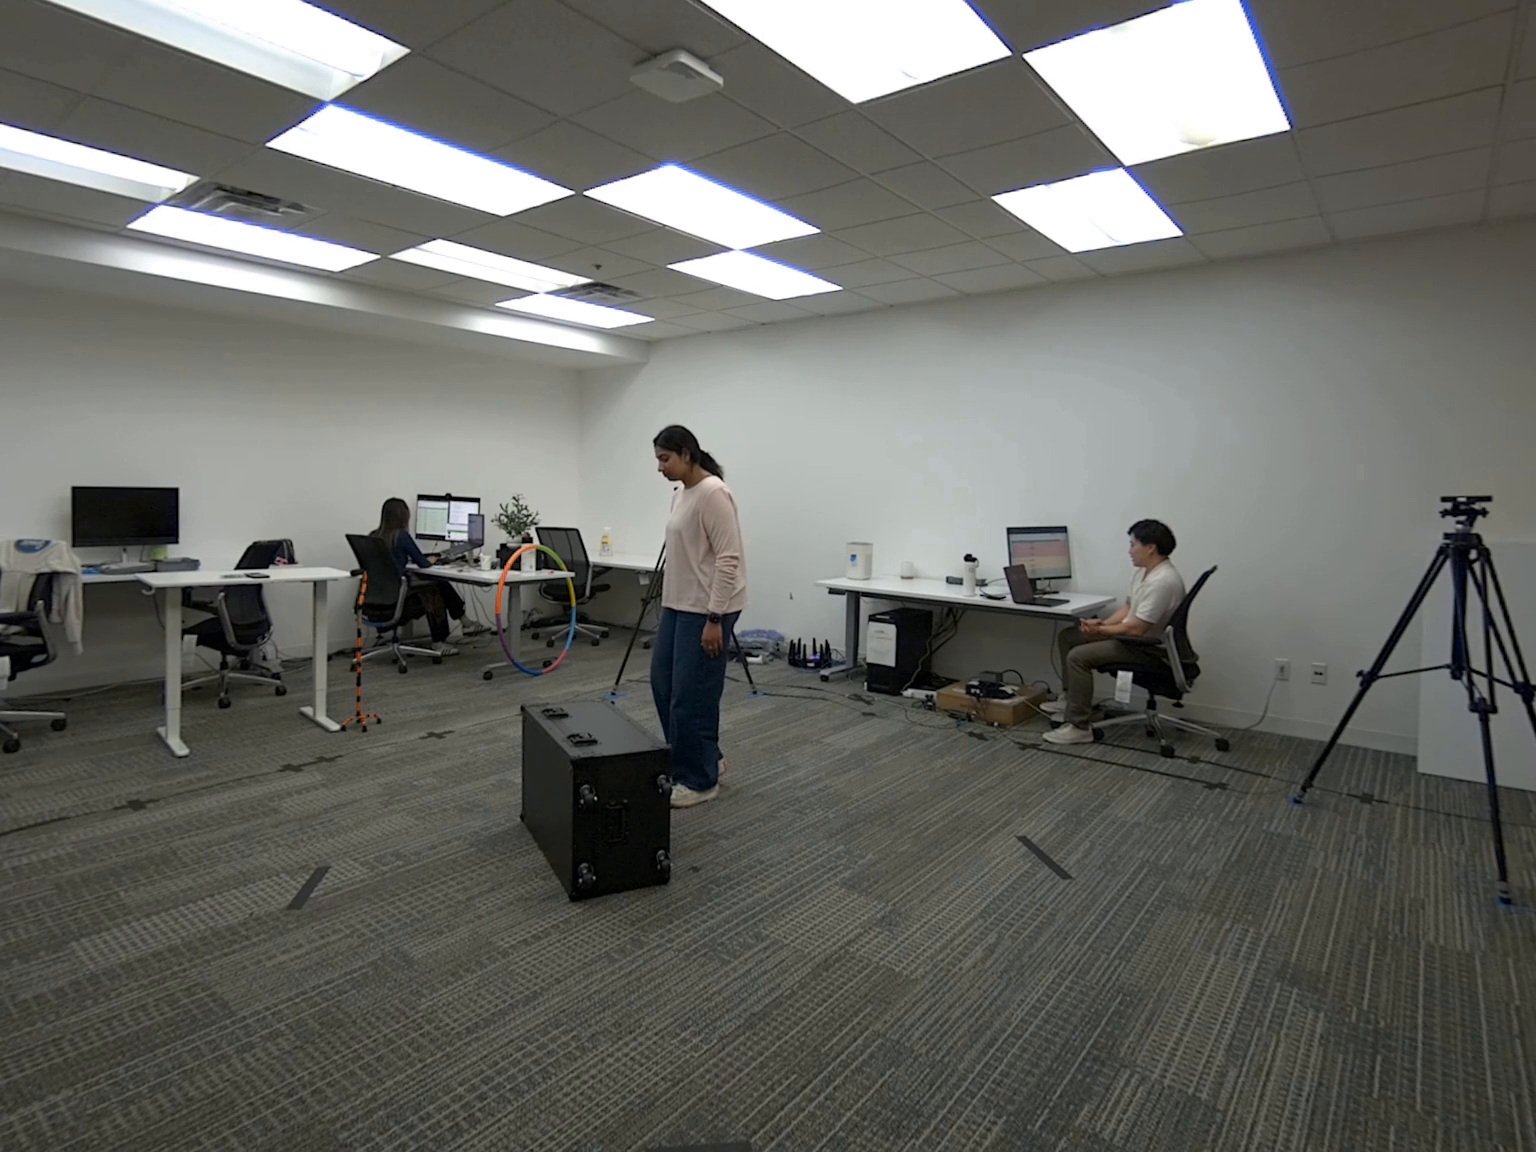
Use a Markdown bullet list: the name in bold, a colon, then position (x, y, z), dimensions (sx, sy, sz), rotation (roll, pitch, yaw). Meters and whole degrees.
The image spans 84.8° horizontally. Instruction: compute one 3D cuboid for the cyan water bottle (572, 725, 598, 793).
- **cyan water bottle**: position (-0.844, 0.839, 3.868), dimensions (0.092, 0.282, 0.093), rotation (-1, 4, -2)
